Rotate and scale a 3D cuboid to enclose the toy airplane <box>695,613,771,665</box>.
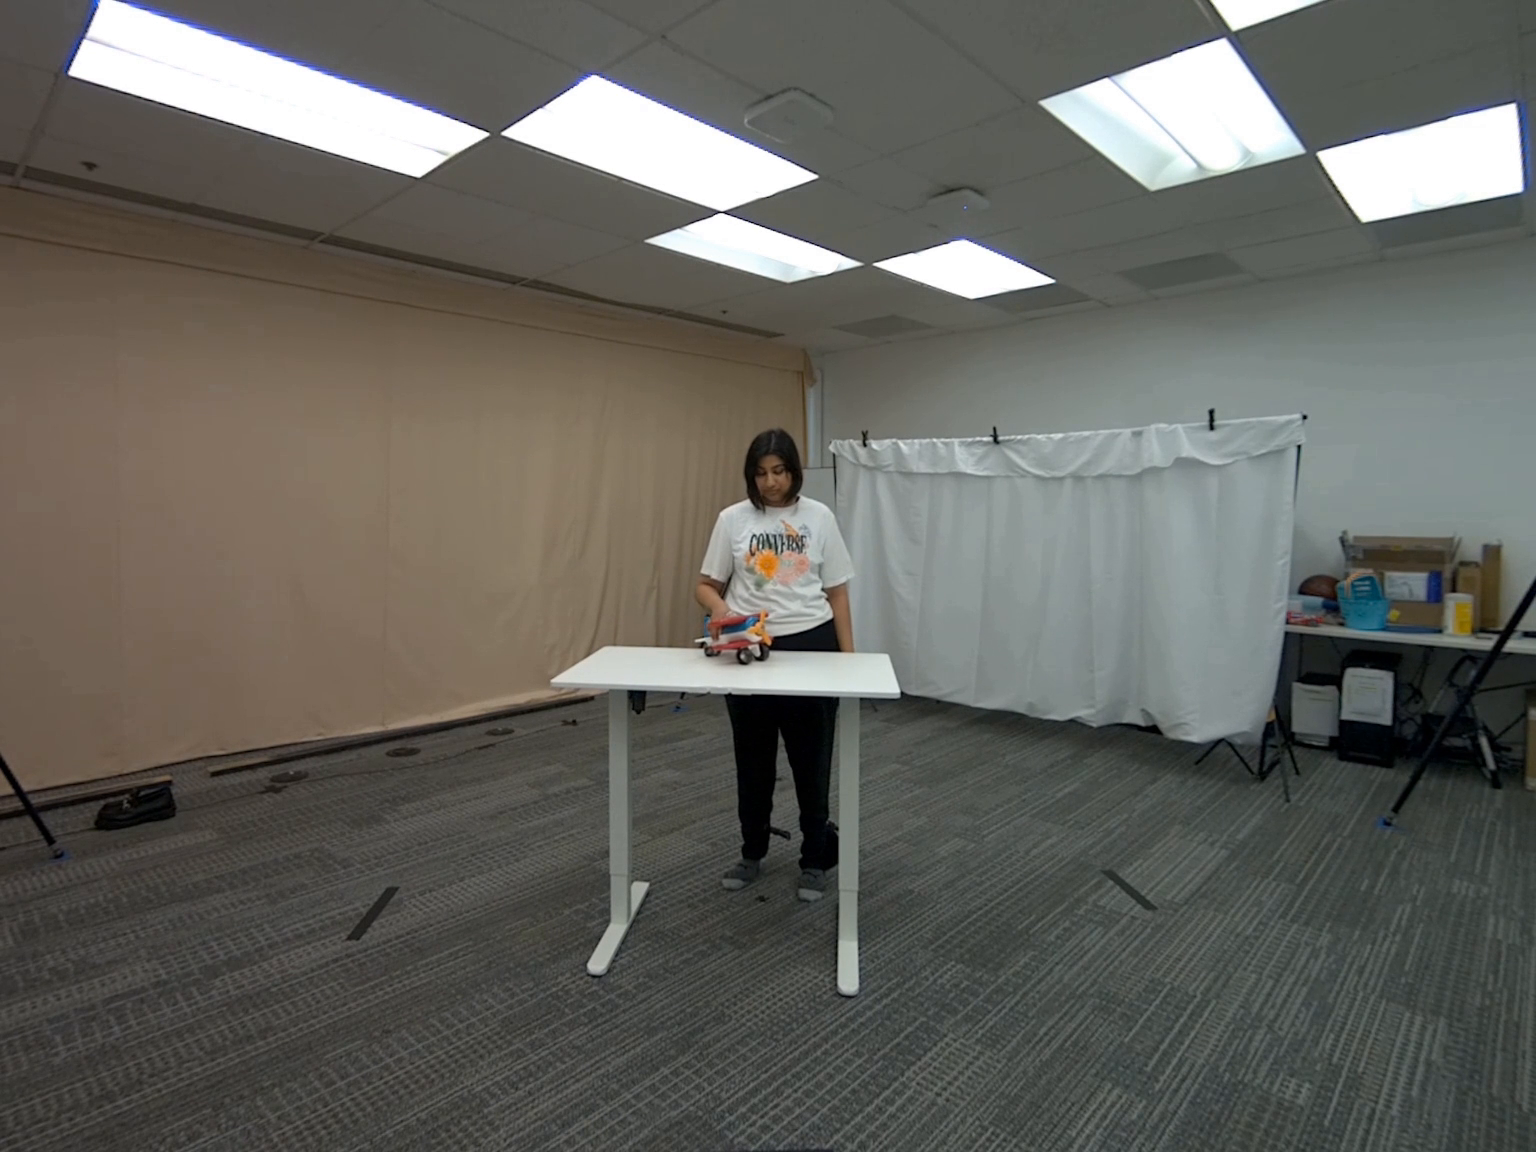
[{"bbox_3d":[-0.122,0.203,2.779,0.263,0.156,0.248,1,6,13],"label":"toy airplane"}]
